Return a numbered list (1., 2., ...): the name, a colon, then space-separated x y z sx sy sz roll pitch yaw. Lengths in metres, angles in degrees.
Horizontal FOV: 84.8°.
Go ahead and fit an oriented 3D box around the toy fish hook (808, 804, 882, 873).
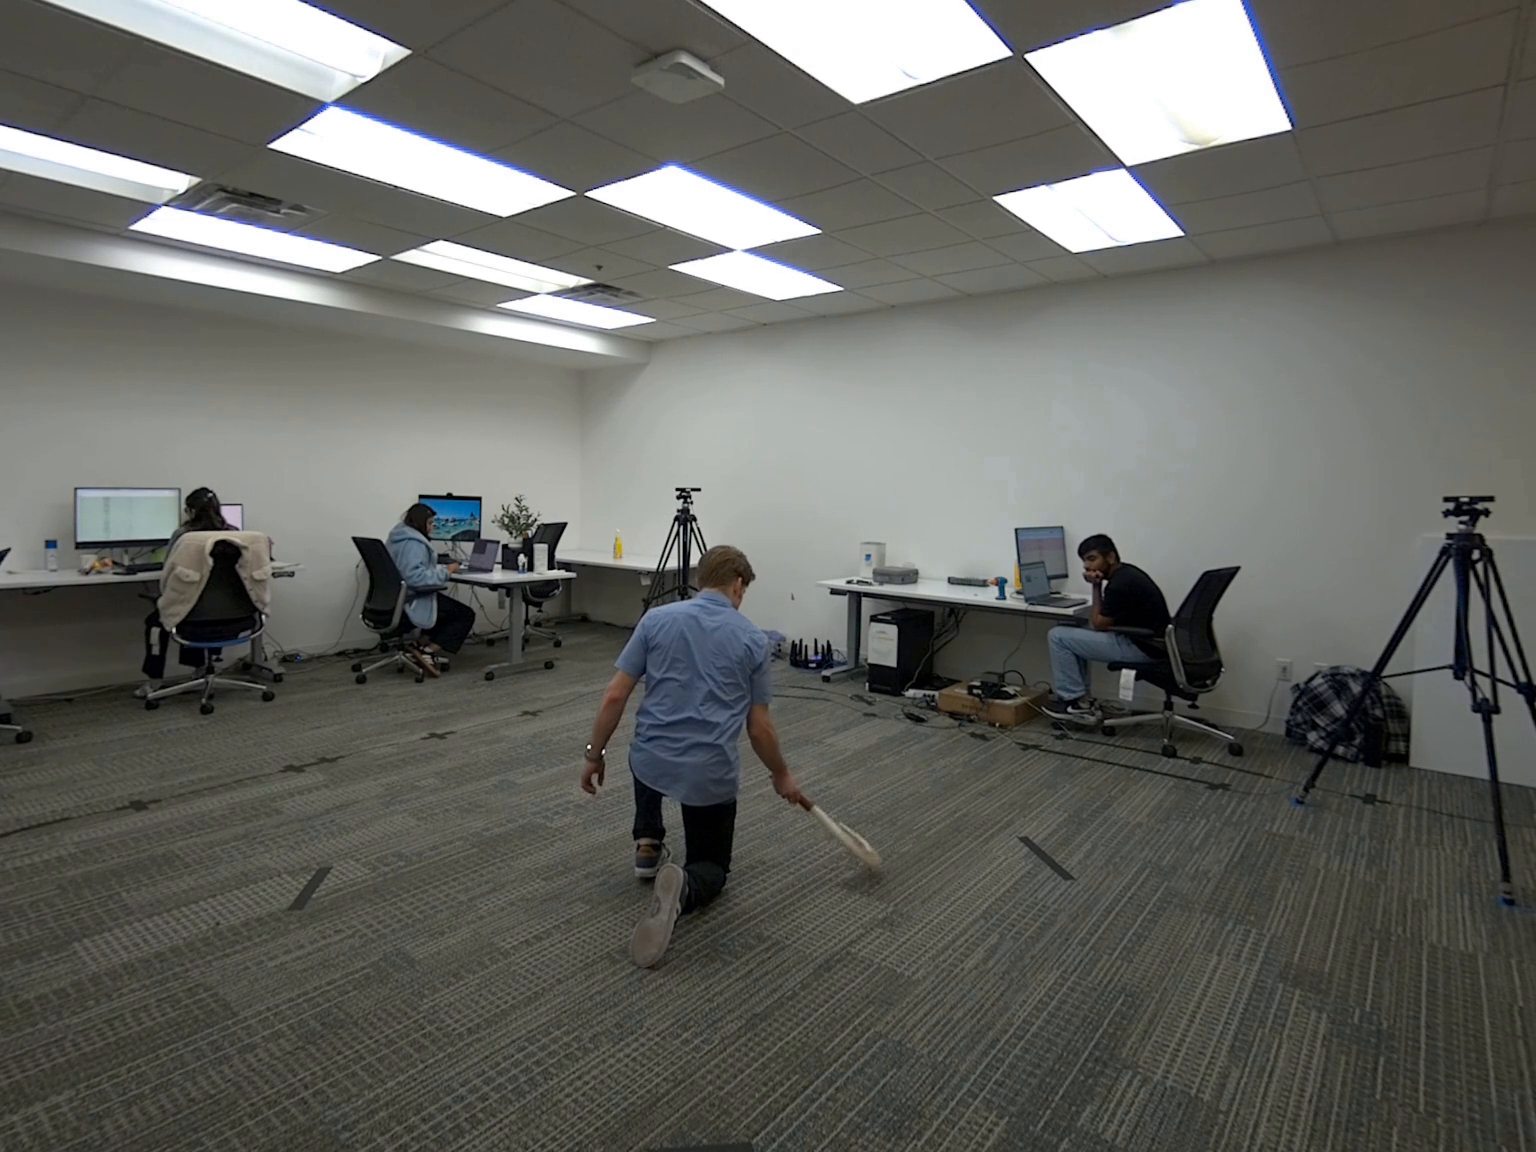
1. toy fish hook: 0.197 0.875 3.143 0.519 0.048 0.219 39 -3 16
